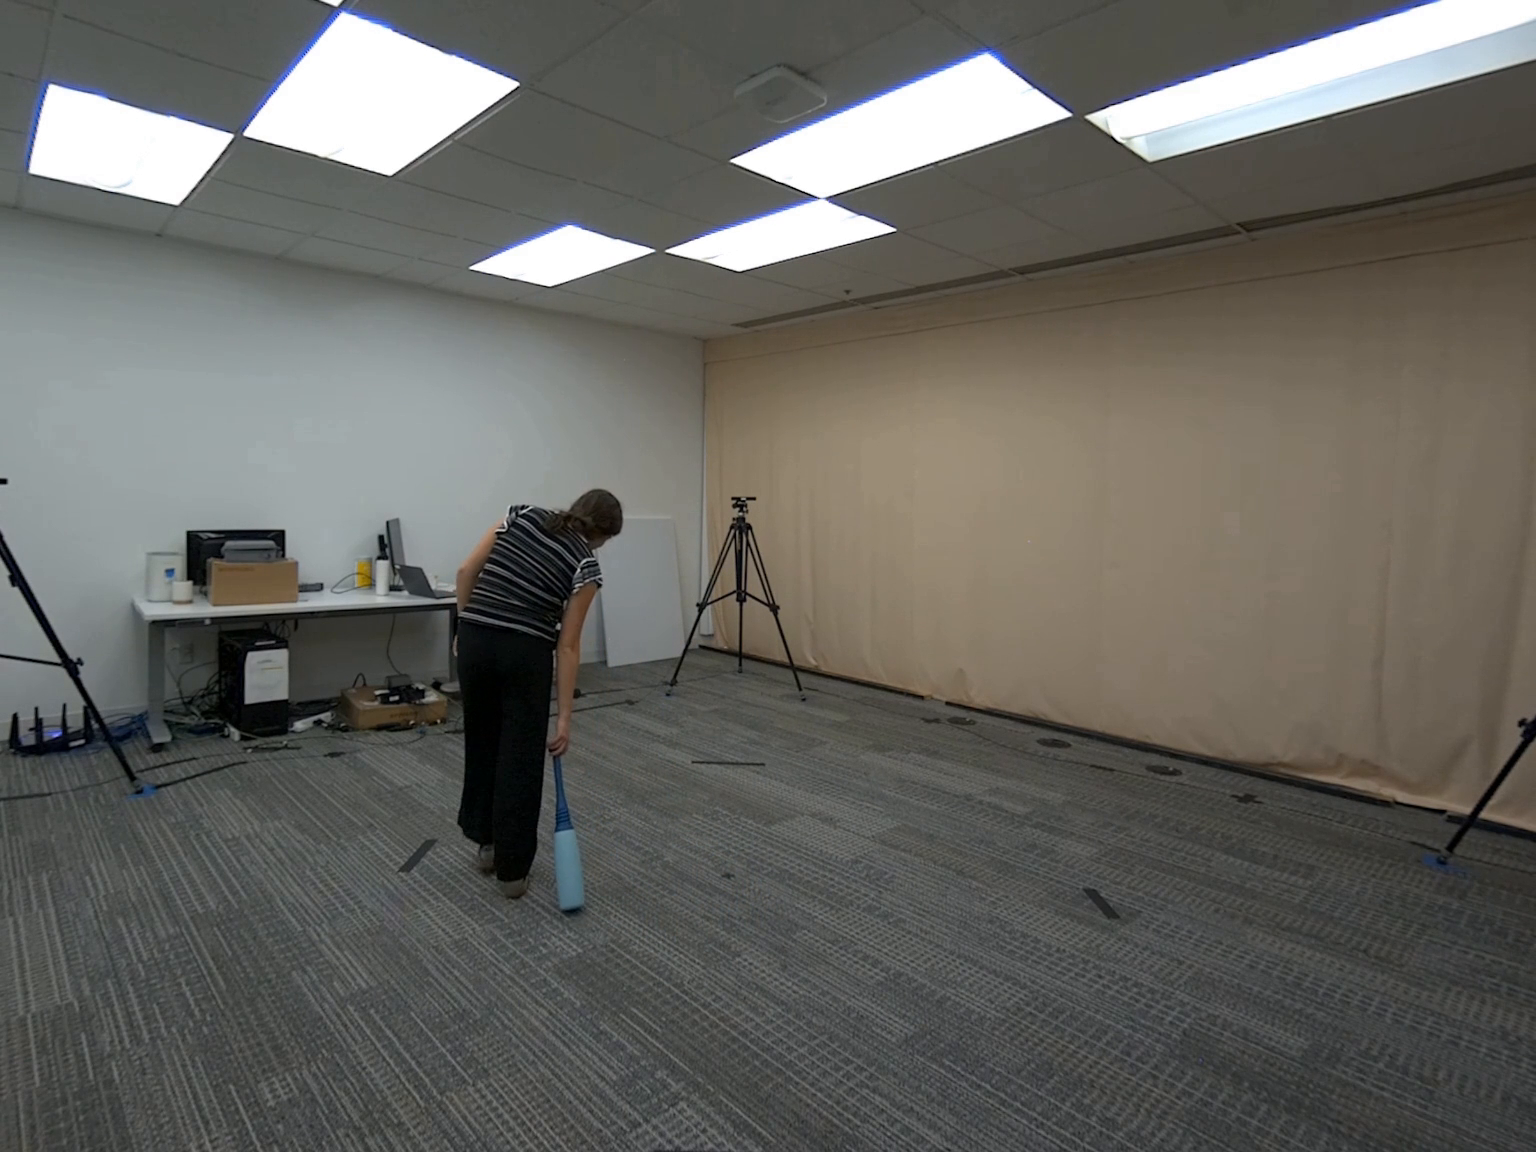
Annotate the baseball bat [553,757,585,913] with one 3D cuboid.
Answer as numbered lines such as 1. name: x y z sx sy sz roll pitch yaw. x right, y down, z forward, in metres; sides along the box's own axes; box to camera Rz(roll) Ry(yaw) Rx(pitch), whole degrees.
1. baseball bat: -0.711 0.864 2.892 0.089 0.552 0.088 -9 -20 -5
